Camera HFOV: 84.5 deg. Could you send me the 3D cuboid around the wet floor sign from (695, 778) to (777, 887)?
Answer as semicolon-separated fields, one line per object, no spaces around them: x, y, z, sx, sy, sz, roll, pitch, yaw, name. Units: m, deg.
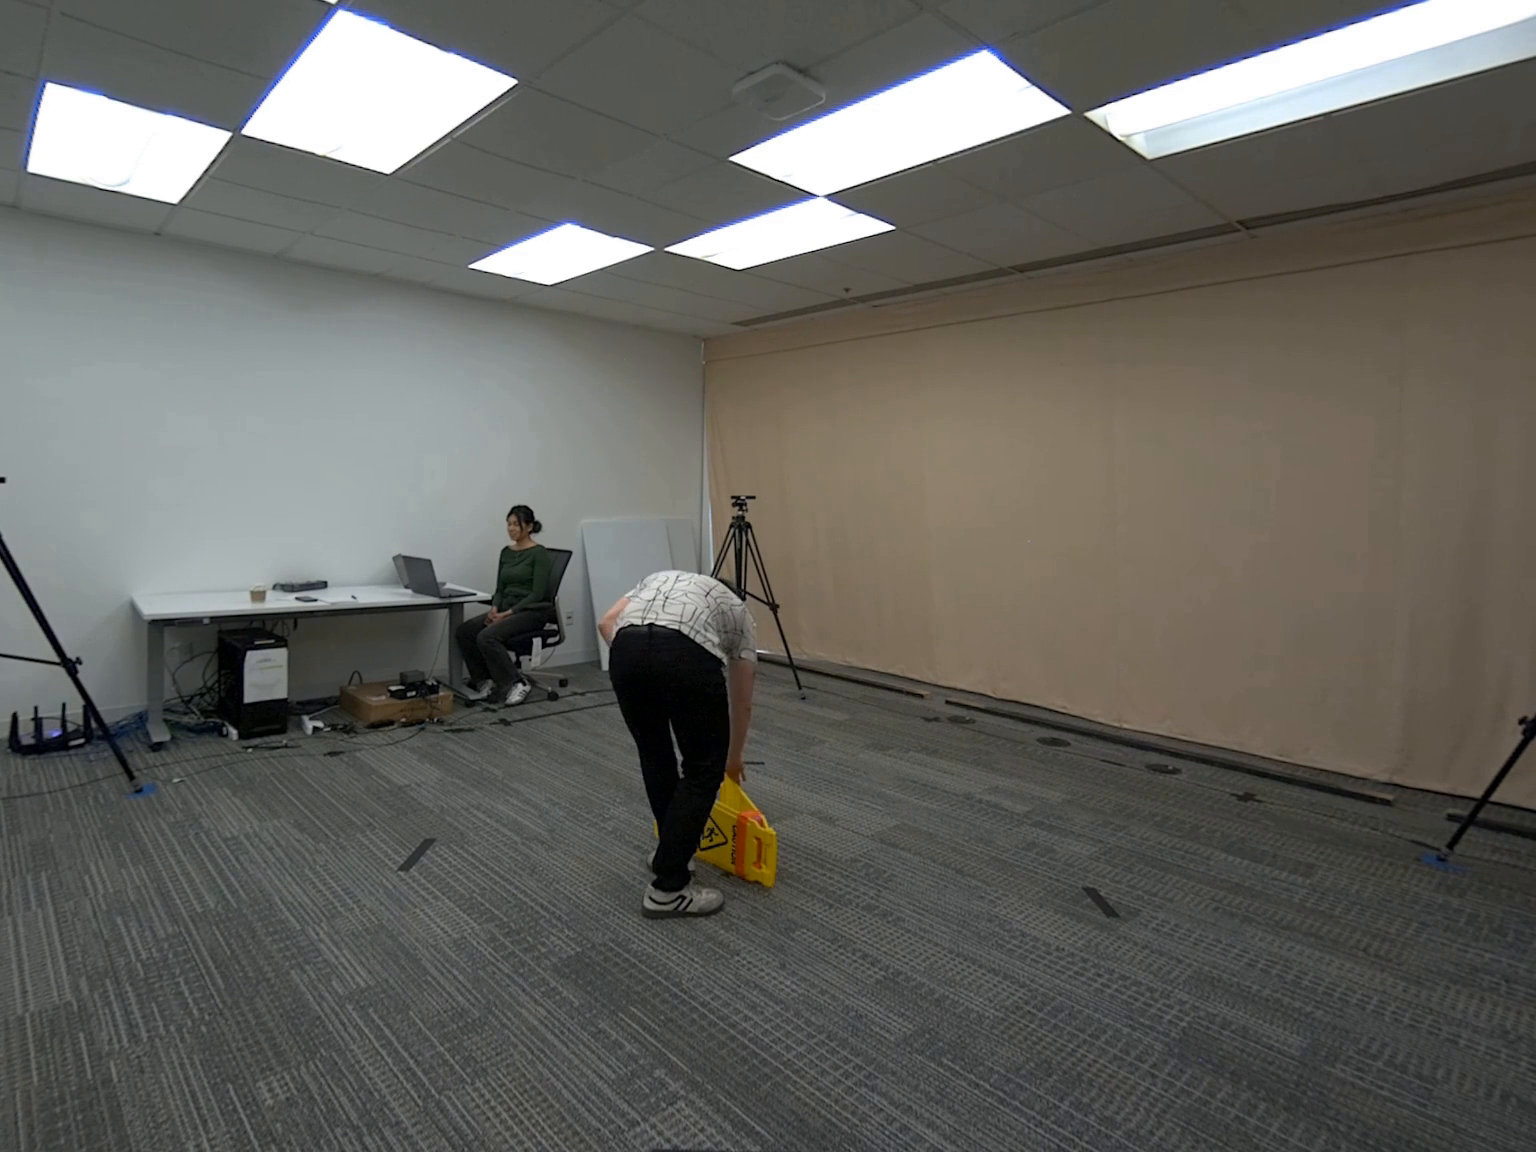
-0.166;0.959;3.229;0.284;0.281;0.662;-2;8;-33;wet floor sign
